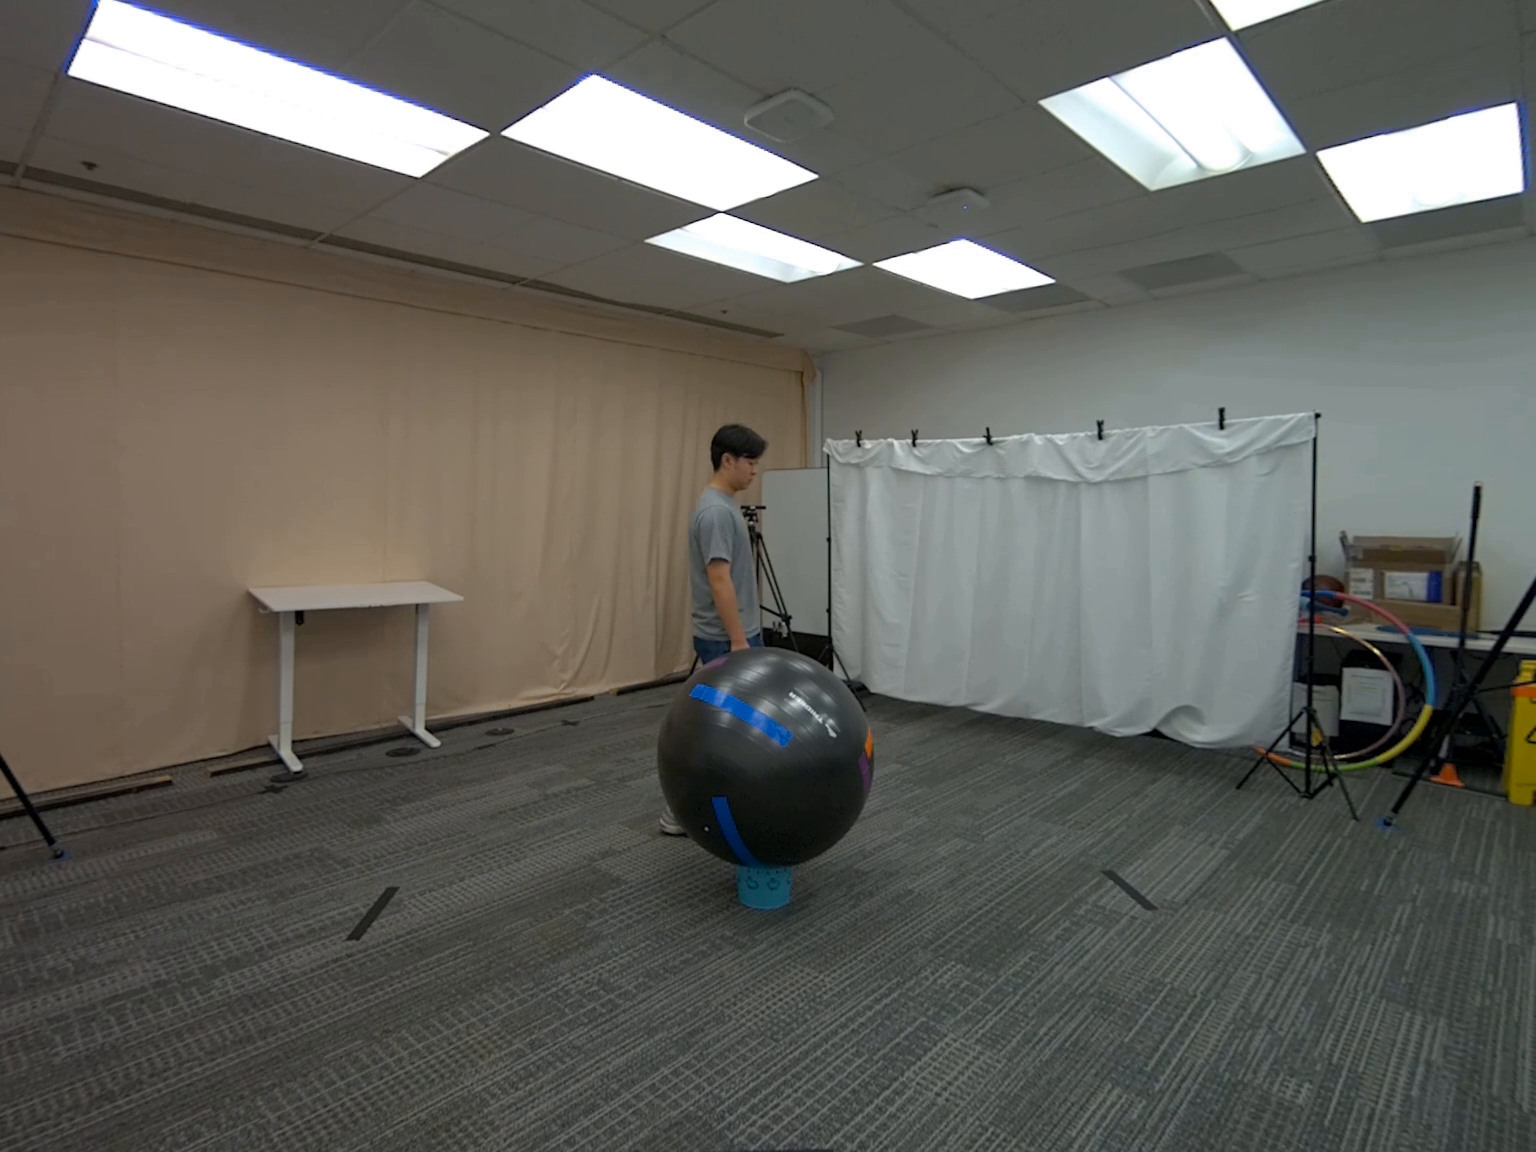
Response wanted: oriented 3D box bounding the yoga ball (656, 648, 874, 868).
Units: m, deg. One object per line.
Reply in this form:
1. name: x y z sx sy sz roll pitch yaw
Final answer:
1. yoga ball: -0.010 0.634 2.970 0.757 0.756 0.760 0 4 -2
